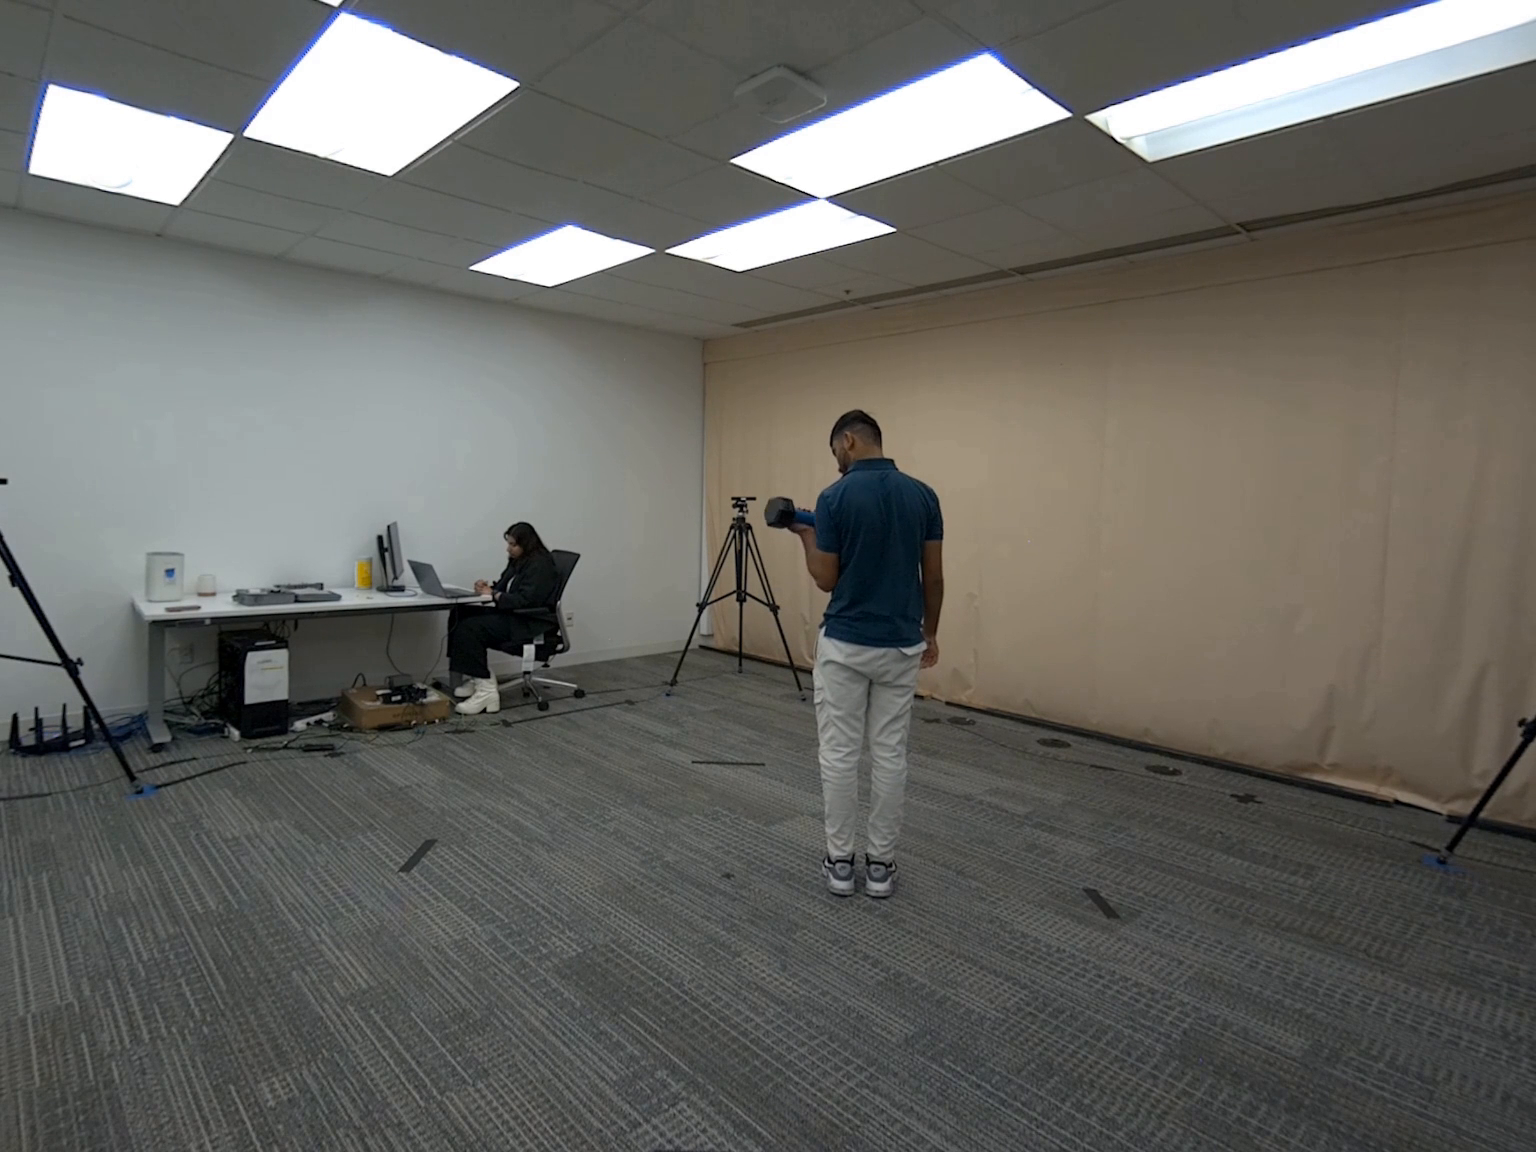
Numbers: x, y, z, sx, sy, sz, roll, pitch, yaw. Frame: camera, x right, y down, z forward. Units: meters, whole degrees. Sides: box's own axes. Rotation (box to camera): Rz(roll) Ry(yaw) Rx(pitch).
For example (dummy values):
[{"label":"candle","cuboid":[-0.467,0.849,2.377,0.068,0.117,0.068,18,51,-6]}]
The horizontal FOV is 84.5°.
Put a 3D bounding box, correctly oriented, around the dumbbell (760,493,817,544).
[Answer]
[{"label":"dumbbell","cuboid":[0.131,-0.206,3.179,0.286,0.126,0.108,10,-42,-31]}]
